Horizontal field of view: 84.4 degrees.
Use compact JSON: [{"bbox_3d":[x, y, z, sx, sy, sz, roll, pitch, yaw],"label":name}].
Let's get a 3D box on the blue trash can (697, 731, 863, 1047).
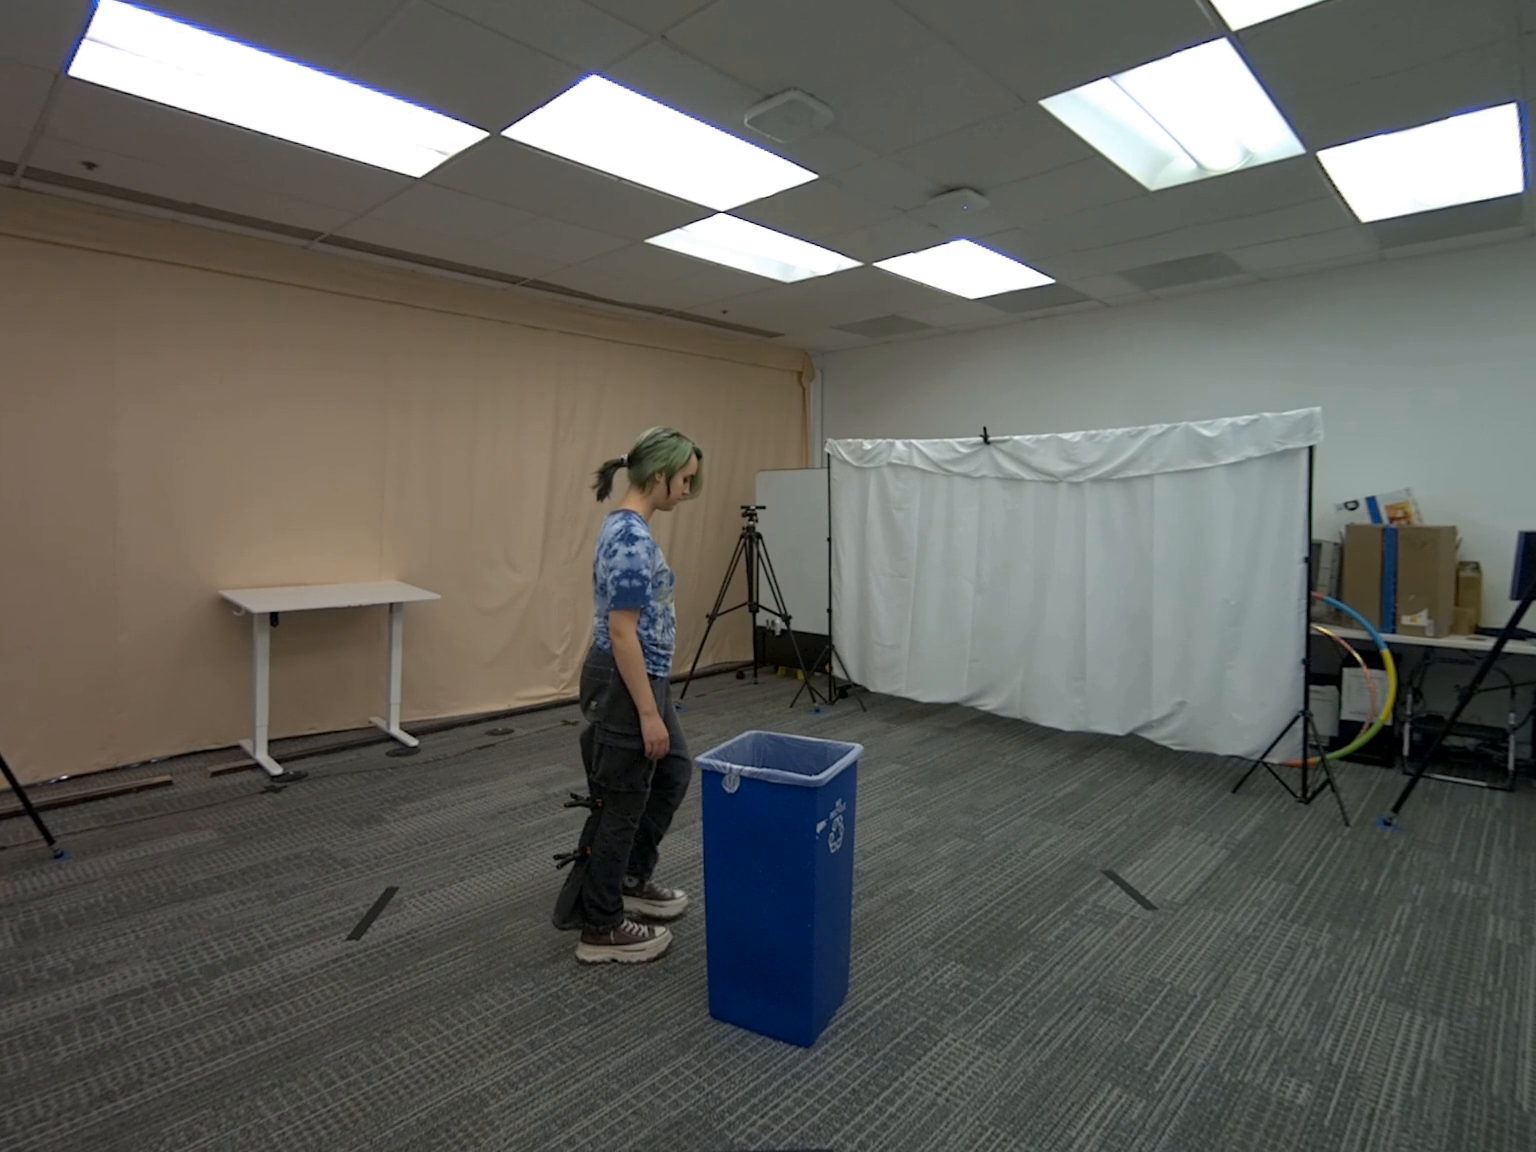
[{"bbox_3d":[0.041,0.840,2.343,0.388,0.712,0.365,2,3,27],"label":"blue trash can"}]
